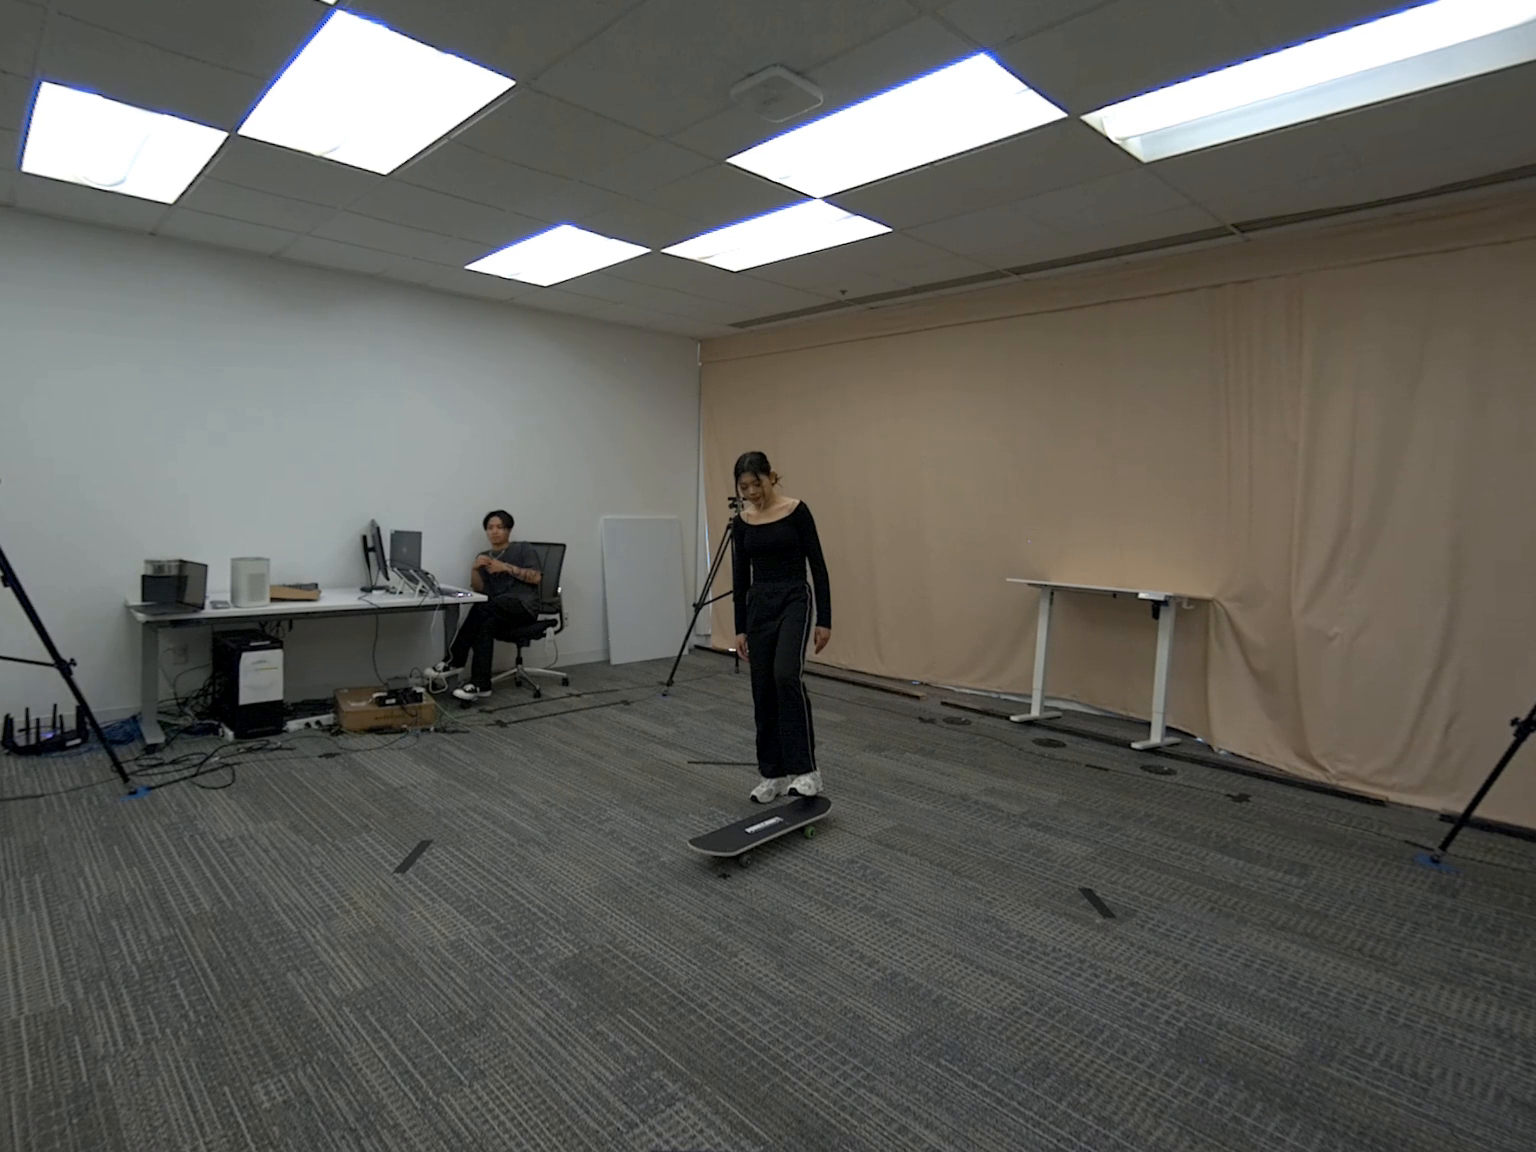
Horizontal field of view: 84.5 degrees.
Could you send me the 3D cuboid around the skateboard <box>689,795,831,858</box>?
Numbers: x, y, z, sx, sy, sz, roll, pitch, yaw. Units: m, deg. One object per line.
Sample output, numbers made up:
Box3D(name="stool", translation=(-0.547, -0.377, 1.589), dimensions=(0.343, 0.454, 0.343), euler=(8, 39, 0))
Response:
Box3D(name="skateboard", translation=(-0.023, 1.031, 3.380), dimensions=(0.198, 0.110, 0.768), euler=(7, 7, 41))
